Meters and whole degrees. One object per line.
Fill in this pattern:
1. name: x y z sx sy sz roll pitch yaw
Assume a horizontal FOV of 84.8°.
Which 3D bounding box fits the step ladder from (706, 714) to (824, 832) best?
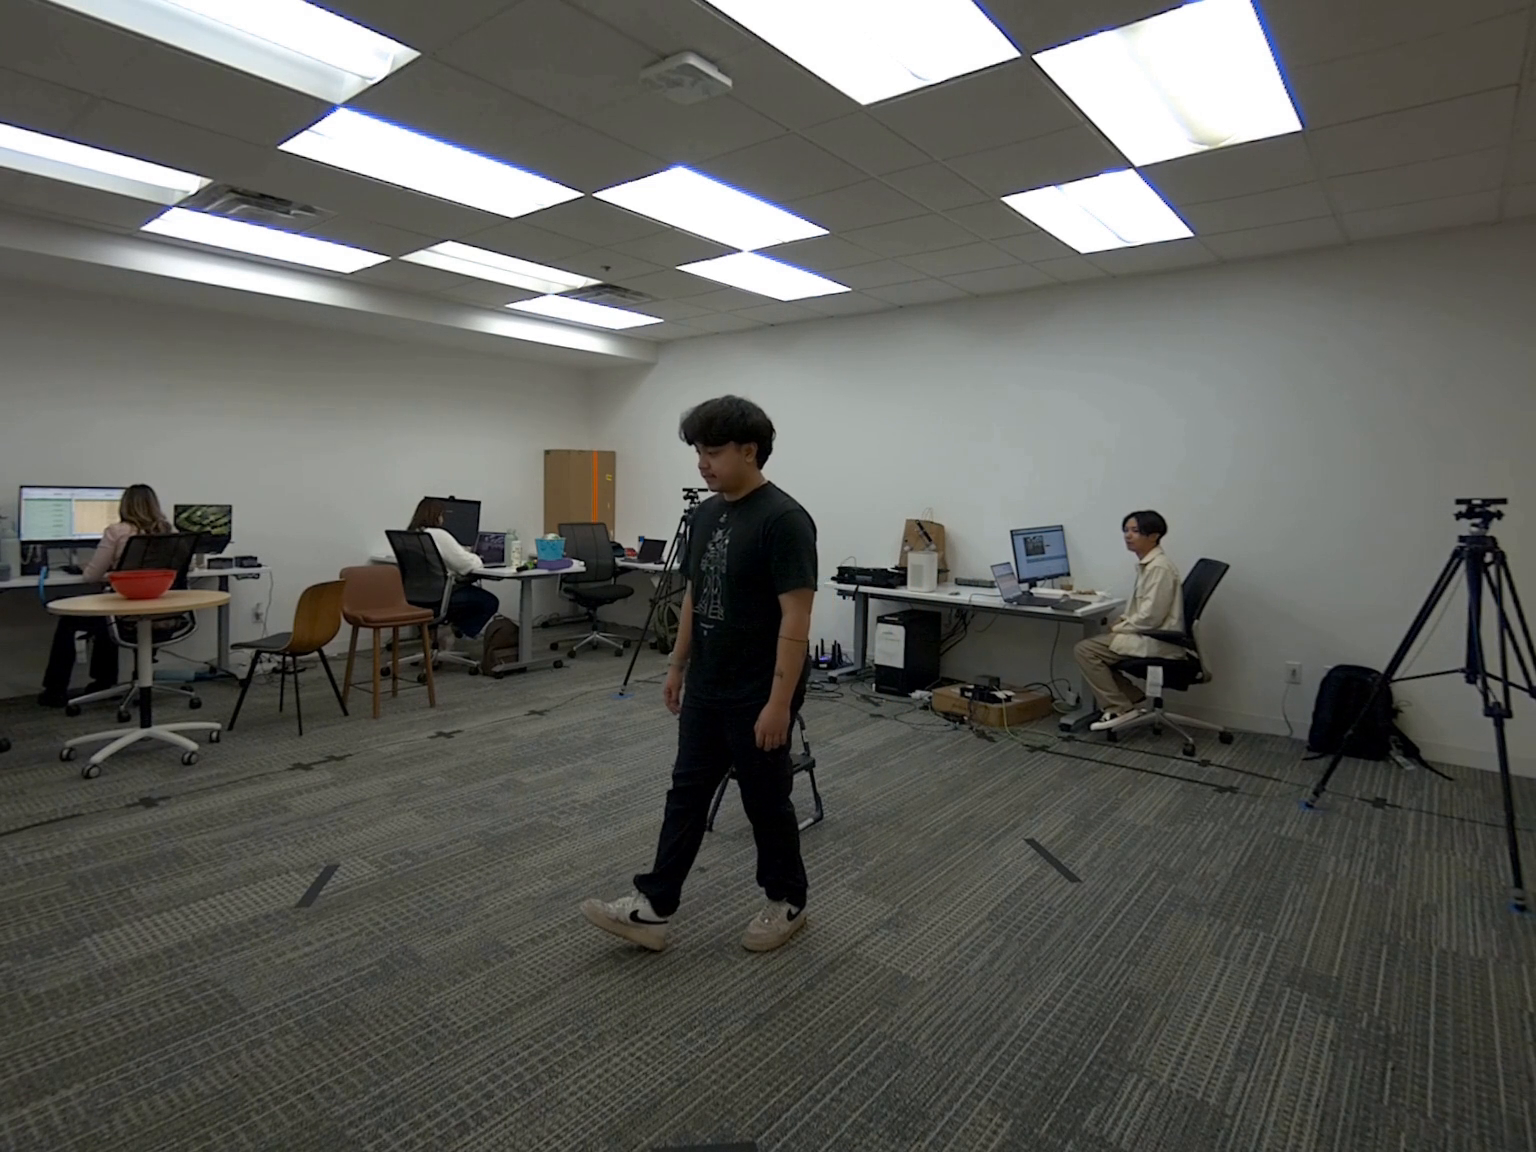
1. step ladder: -0.020 0.725 3.535 0.360 0.604 0.419 3 4 31
